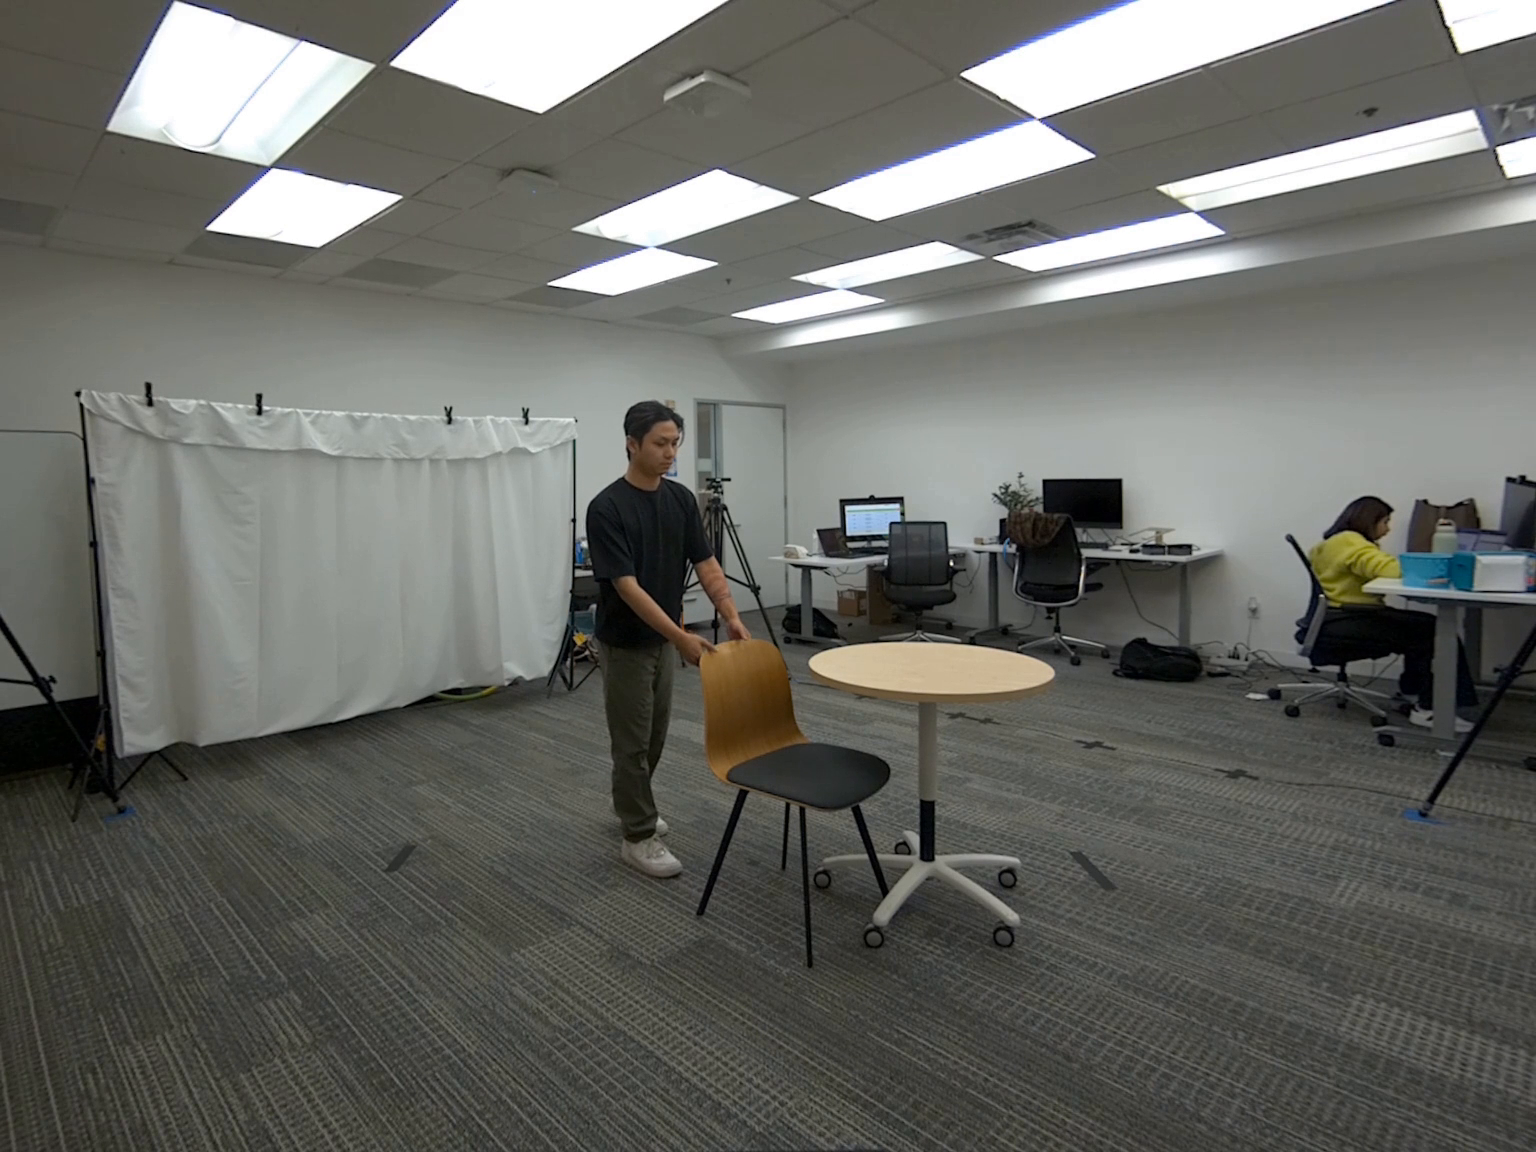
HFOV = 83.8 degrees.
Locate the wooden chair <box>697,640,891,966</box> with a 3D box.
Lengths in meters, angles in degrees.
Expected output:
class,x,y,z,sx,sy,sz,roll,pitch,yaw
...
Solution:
class,x,y,z,sx,sy,sz,roll,pitch,yaw
wooden chair,0.090,0.655,2.709,0.537,0.876,0.466,-3,2,41
